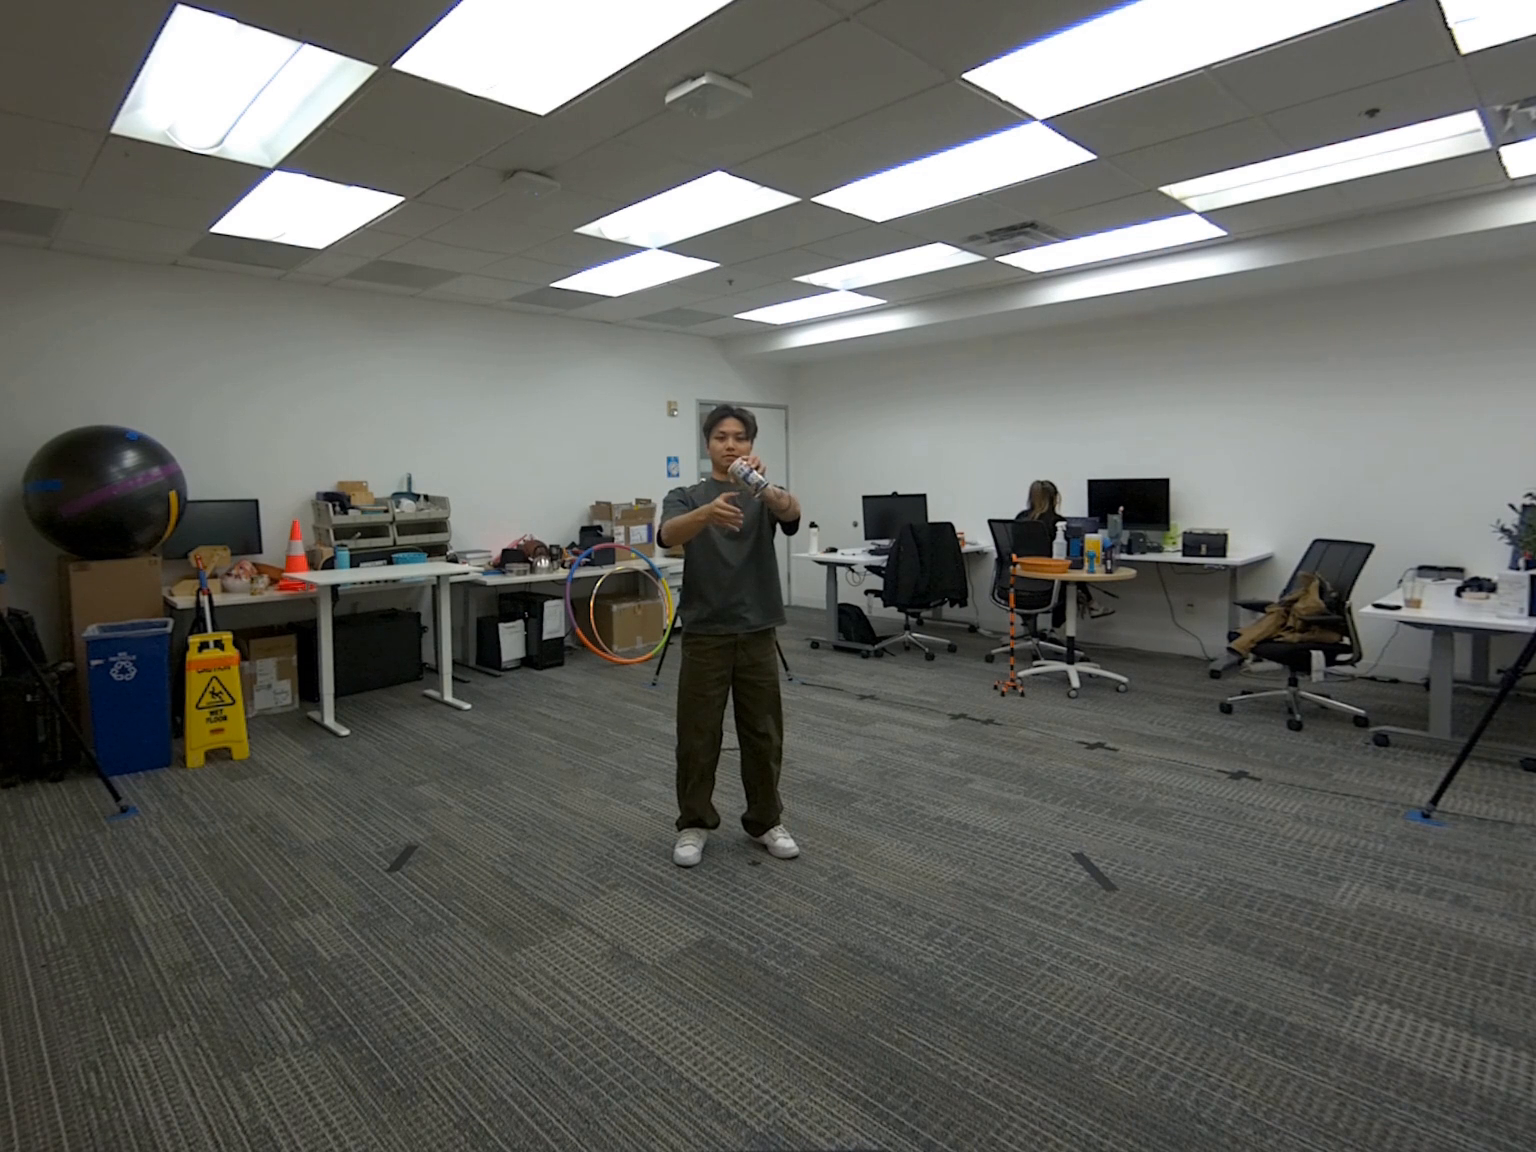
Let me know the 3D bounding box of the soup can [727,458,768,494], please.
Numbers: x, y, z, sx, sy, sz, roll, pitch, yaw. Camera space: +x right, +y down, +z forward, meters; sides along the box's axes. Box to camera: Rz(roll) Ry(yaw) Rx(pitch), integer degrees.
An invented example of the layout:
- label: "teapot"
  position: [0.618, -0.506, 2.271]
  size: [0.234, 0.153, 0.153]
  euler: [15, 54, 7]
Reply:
- label: "soup can"
  position: [-0.065, -0.303, 2.671]
  size: [0.123, 0.067, 0.066]
  euler: [45, 12, 6]
